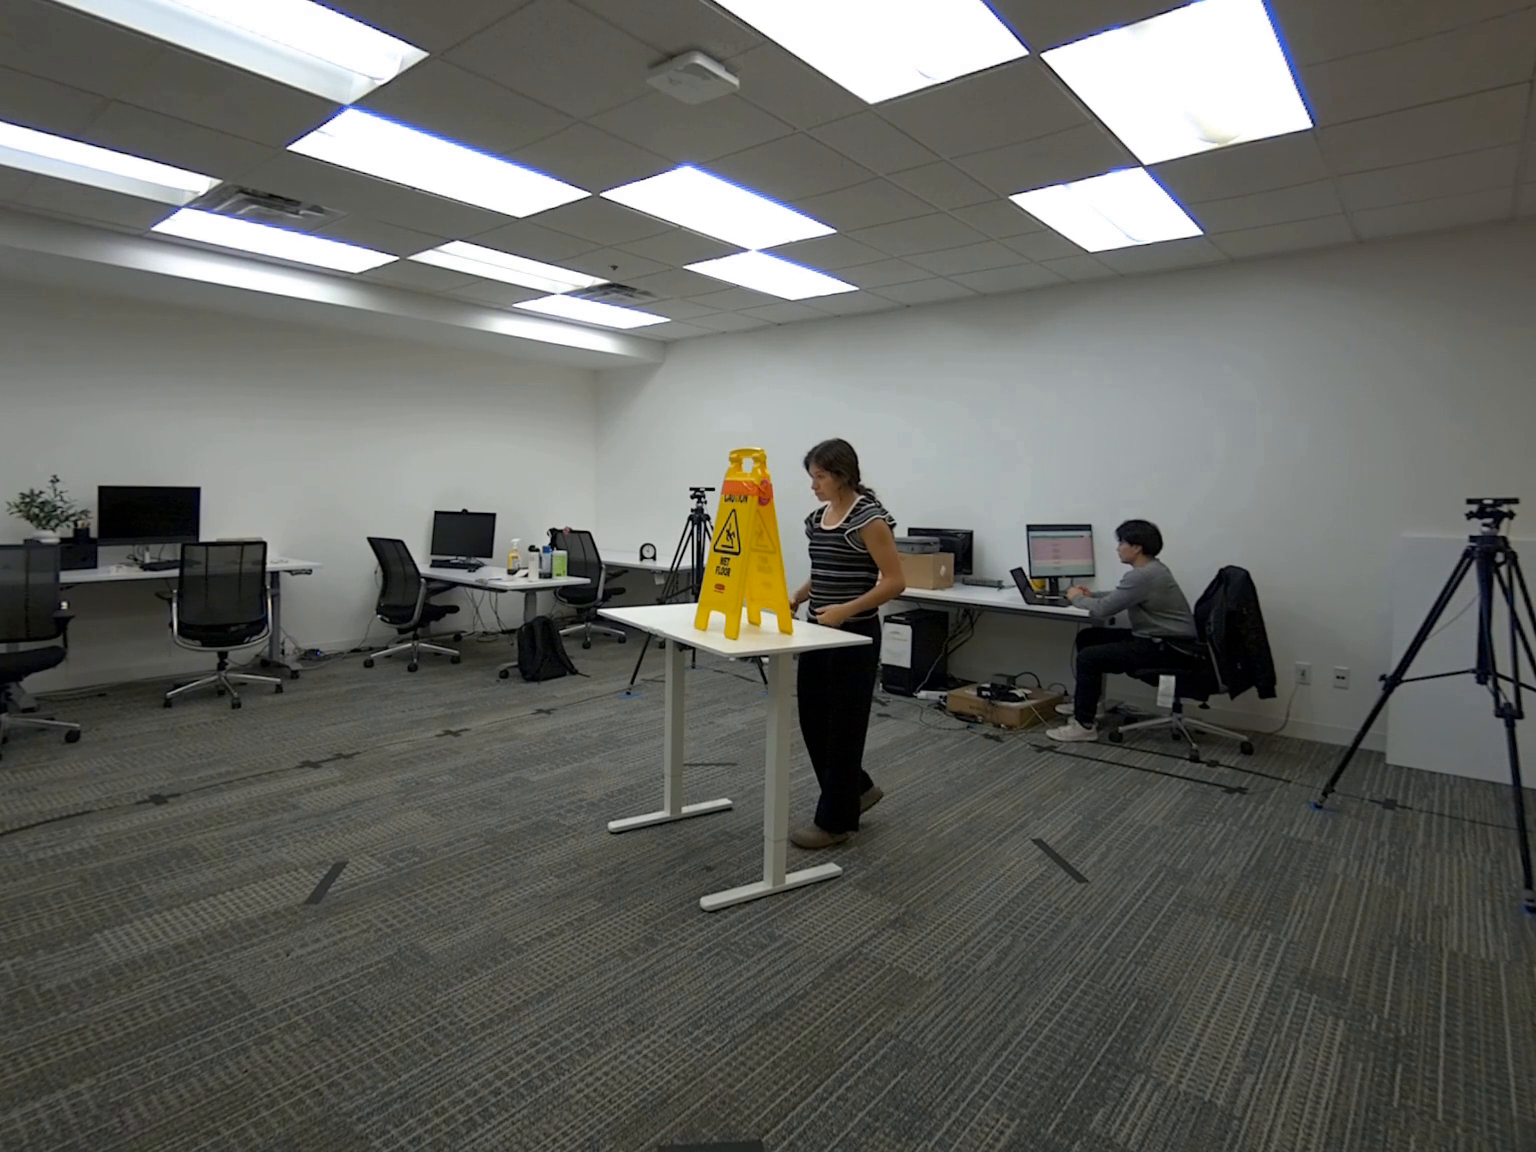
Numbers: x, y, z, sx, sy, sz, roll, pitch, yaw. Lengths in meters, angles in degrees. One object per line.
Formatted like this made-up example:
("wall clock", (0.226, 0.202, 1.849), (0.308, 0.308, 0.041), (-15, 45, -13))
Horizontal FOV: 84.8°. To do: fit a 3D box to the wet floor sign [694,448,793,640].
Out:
("wet floor sign", (-0.094, -0.128, 3.017), (0.282, 0.644, 0.291), (-1, 4, -33))
